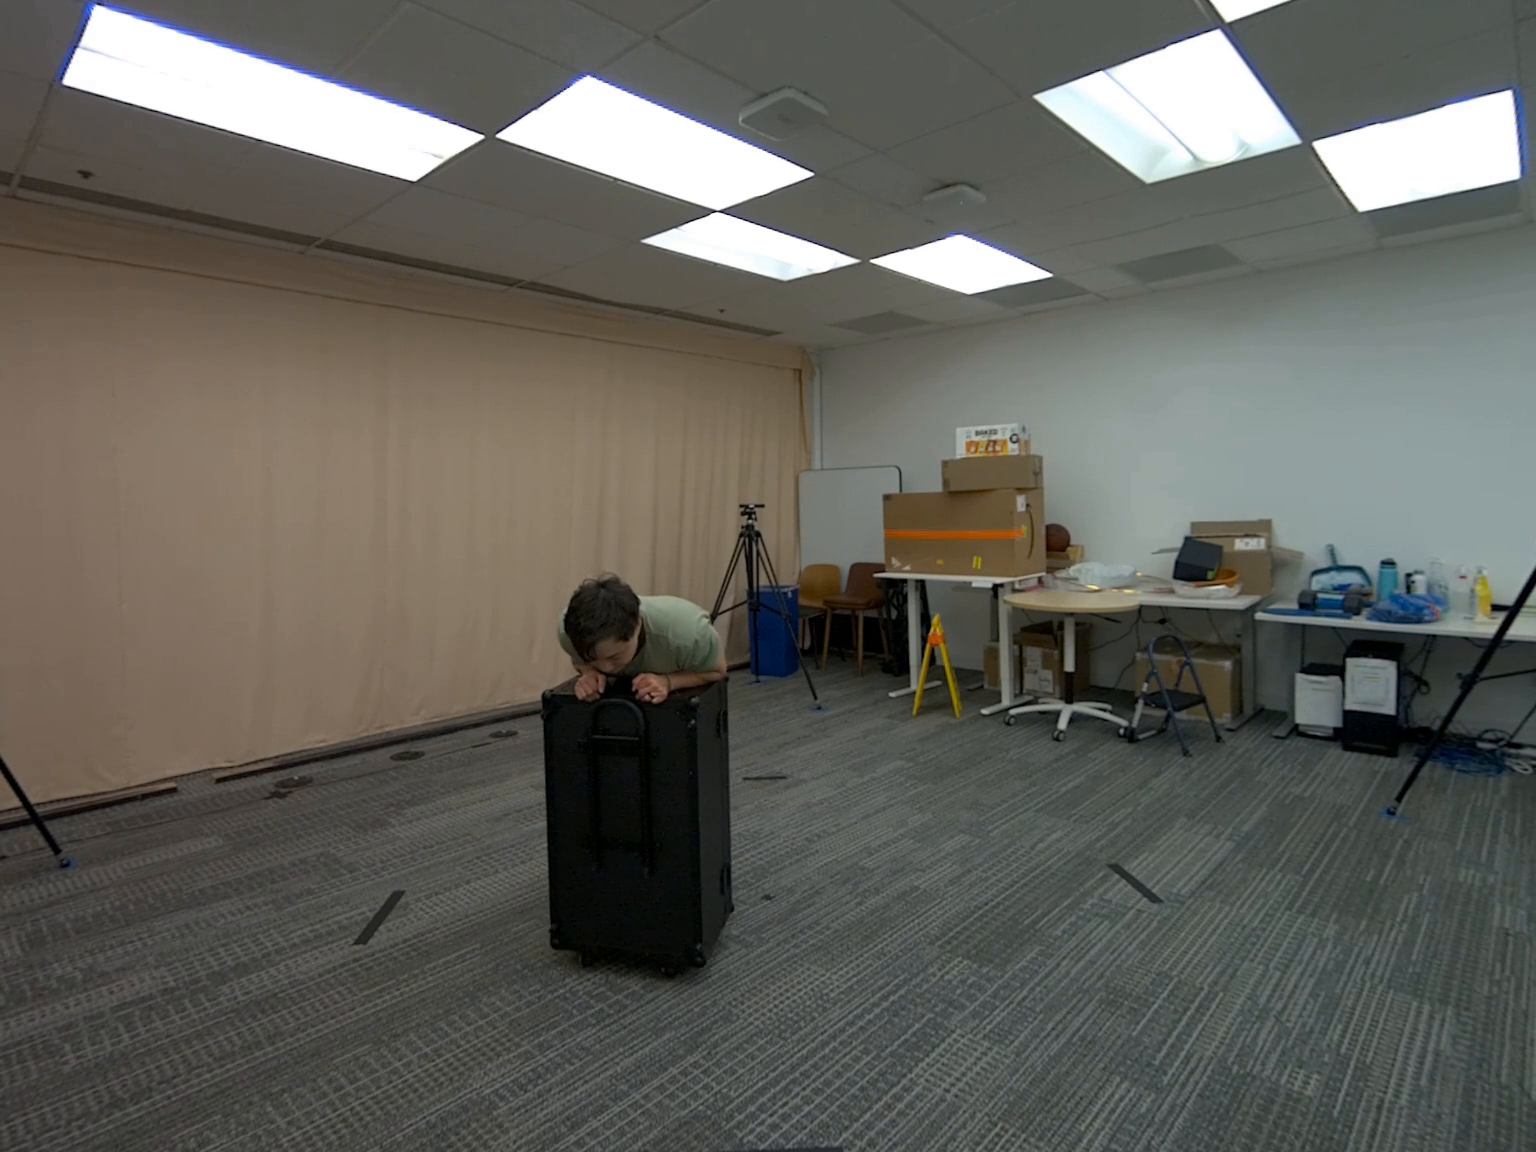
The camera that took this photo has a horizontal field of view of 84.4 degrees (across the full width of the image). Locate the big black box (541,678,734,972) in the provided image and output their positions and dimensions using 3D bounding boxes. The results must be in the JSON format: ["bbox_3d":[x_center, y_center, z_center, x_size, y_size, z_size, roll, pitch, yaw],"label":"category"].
[{"bbox_3d":[-0.385,0.758,2.609,0.529,0.859,0.392,-1,5,13],"label":"big black box"}]
